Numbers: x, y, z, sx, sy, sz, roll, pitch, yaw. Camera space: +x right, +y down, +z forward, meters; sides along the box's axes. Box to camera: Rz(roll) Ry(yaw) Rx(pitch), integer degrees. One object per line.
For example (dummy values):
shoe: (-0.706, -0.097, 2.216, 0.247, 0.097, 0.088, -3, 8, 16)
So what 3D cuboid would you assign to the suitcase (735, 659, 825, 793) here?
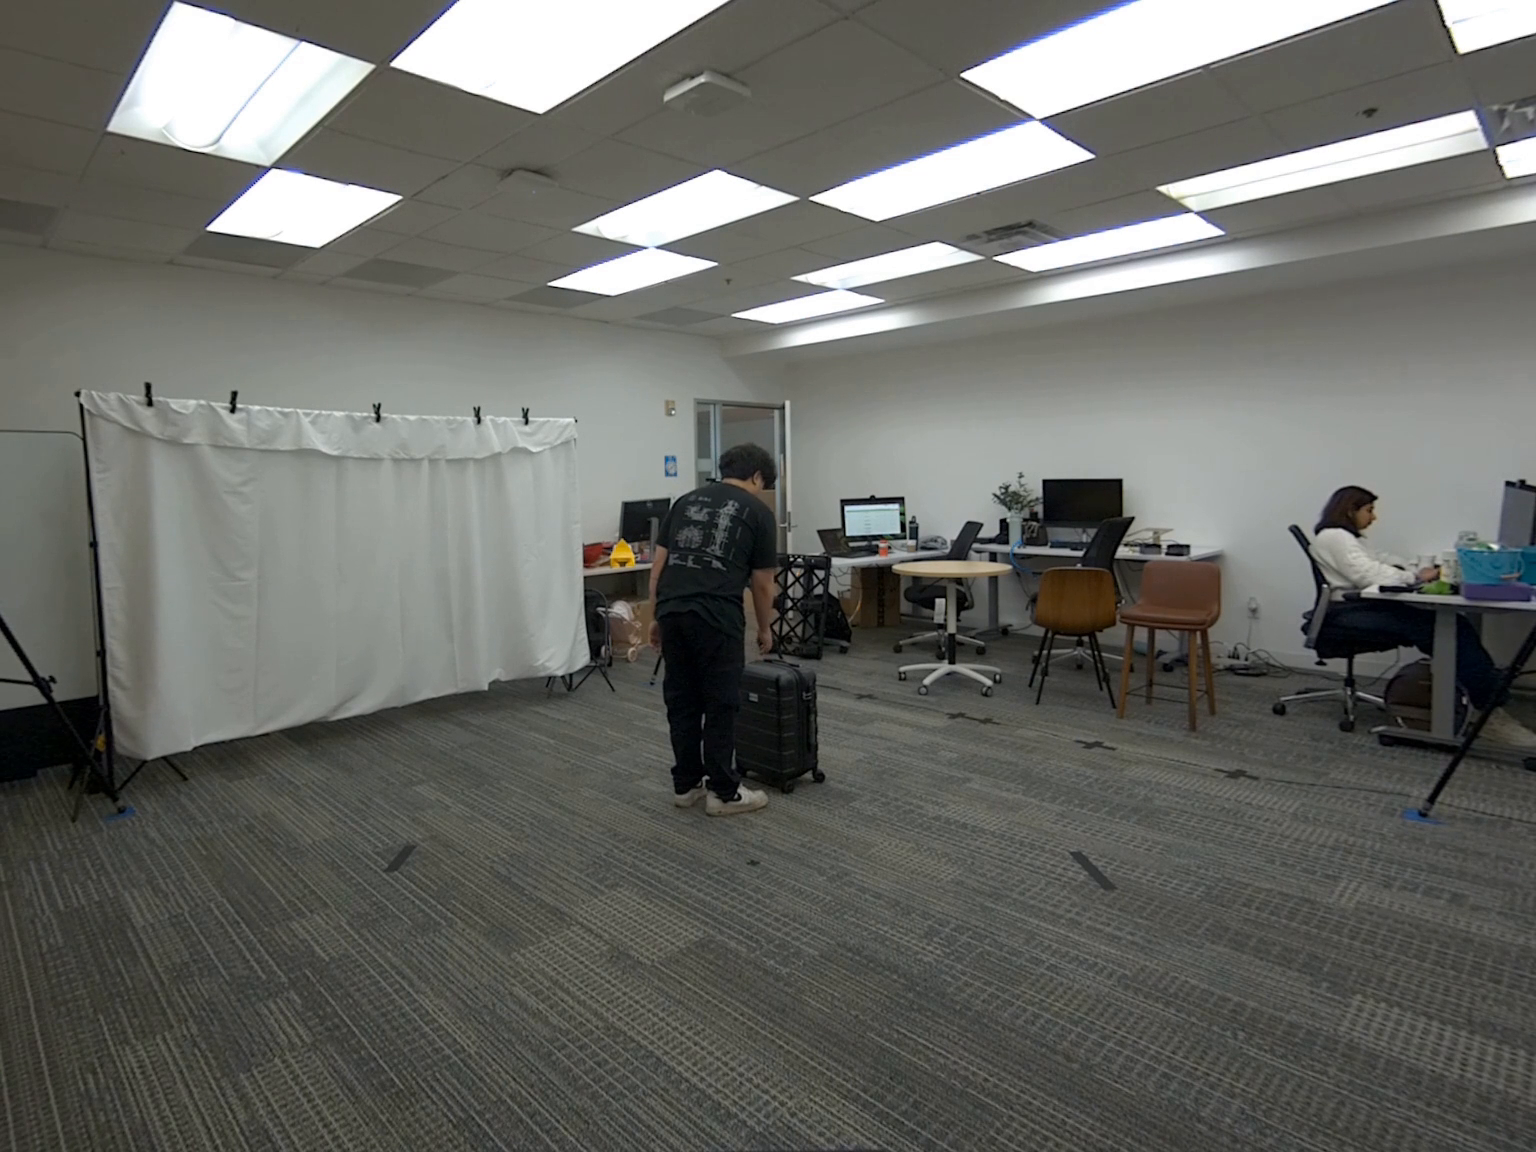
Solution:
suitcase: (0.038, 0.672, 3.950, 0.242, 0.547, 0.387, -7, 8, -44)
